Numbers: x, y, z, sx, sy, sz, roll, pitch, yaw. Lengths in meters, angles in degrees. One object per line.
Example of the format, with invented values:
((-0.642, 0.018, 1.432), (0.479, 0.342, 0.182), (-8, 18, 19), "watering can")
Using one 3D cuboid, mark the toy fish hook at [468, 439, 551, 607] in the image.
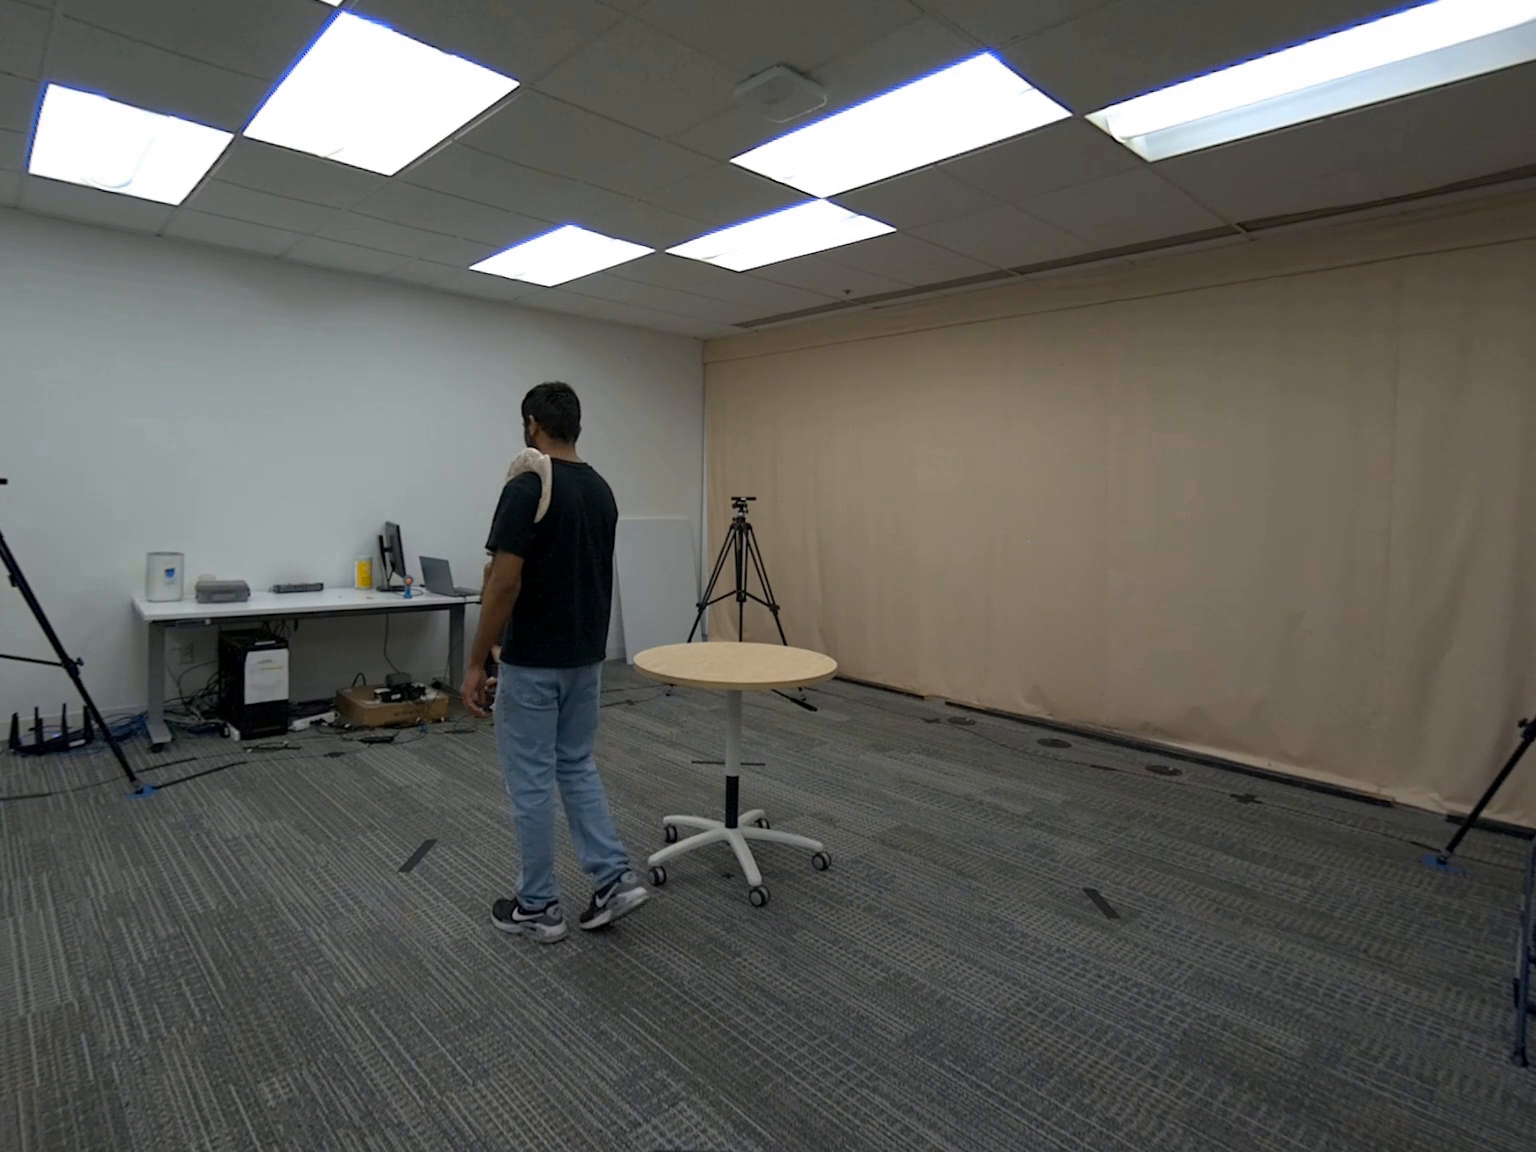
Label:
((-0.752, -0.135, 2.518), (0.047, 0.505, 0.231), (11, 11, -46), "toy fish hook")
